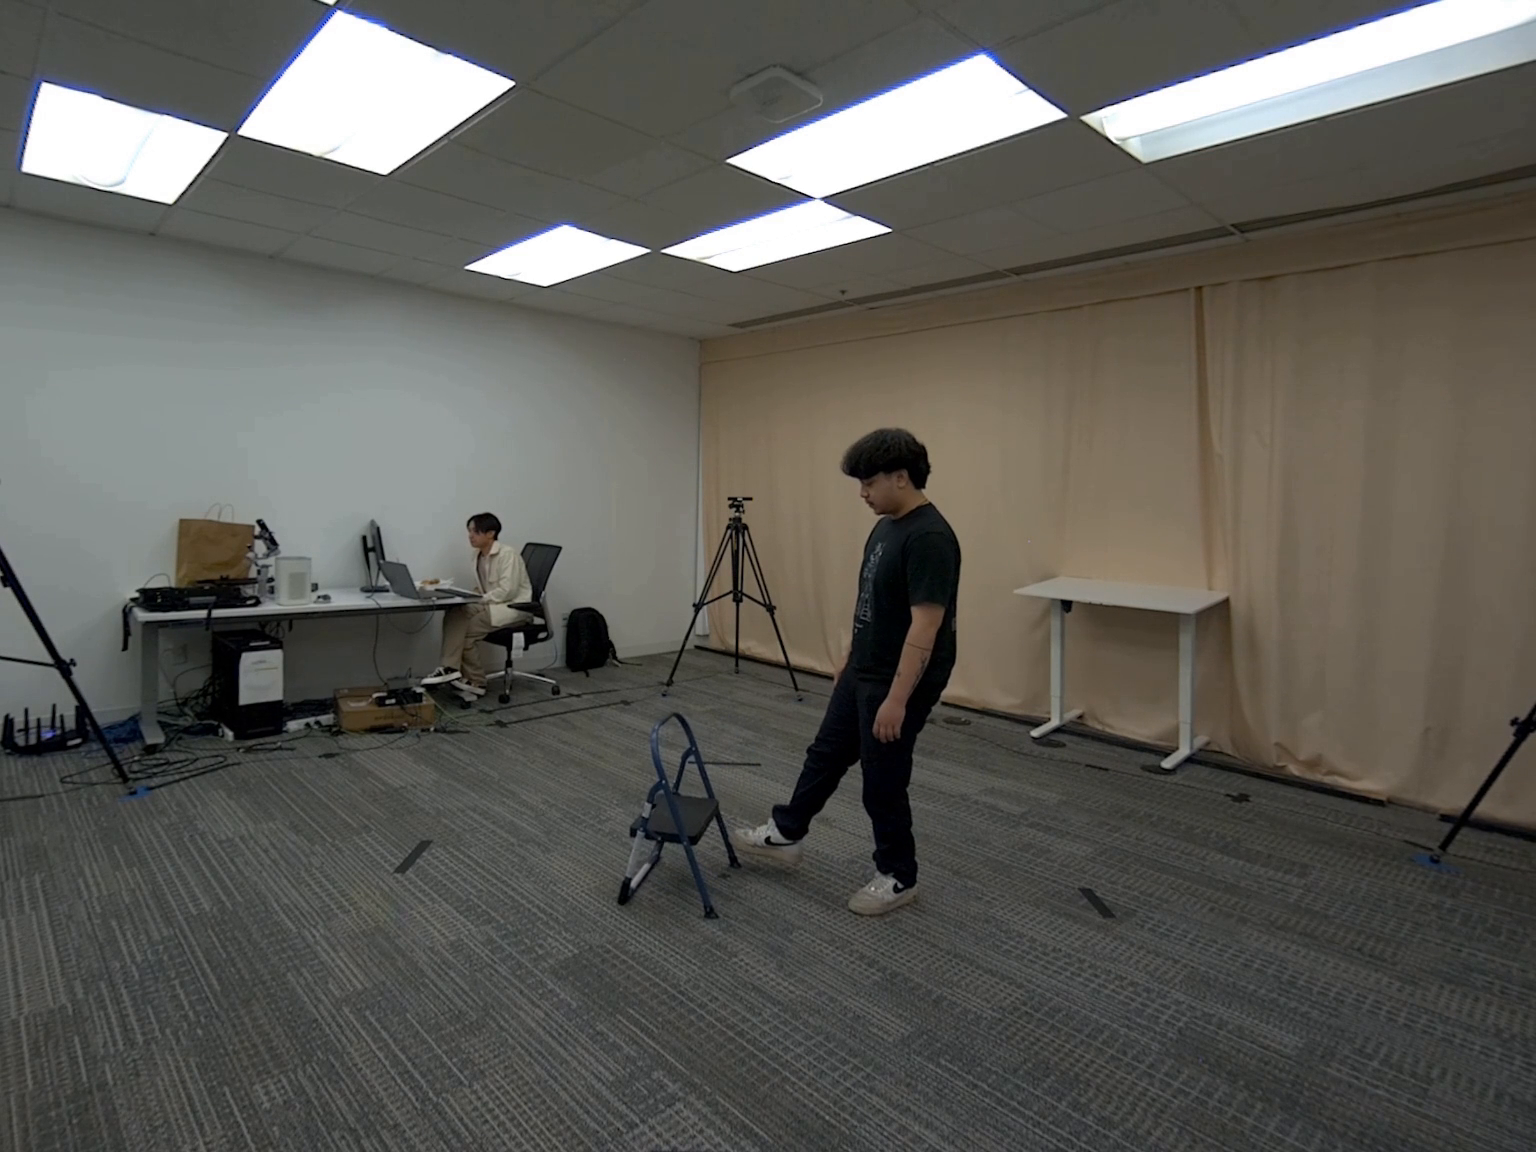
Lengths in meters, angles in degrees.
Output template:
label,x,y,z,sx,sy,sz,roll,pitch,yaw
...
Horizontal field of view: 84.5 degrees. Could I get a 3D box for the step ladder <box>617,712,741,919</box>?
label,x,y,z,sx,sy,sz,roll,pitch,yaw
step ladder,-0.302,0.808,3.014,0.353,0.604,0.427,3,4,11
